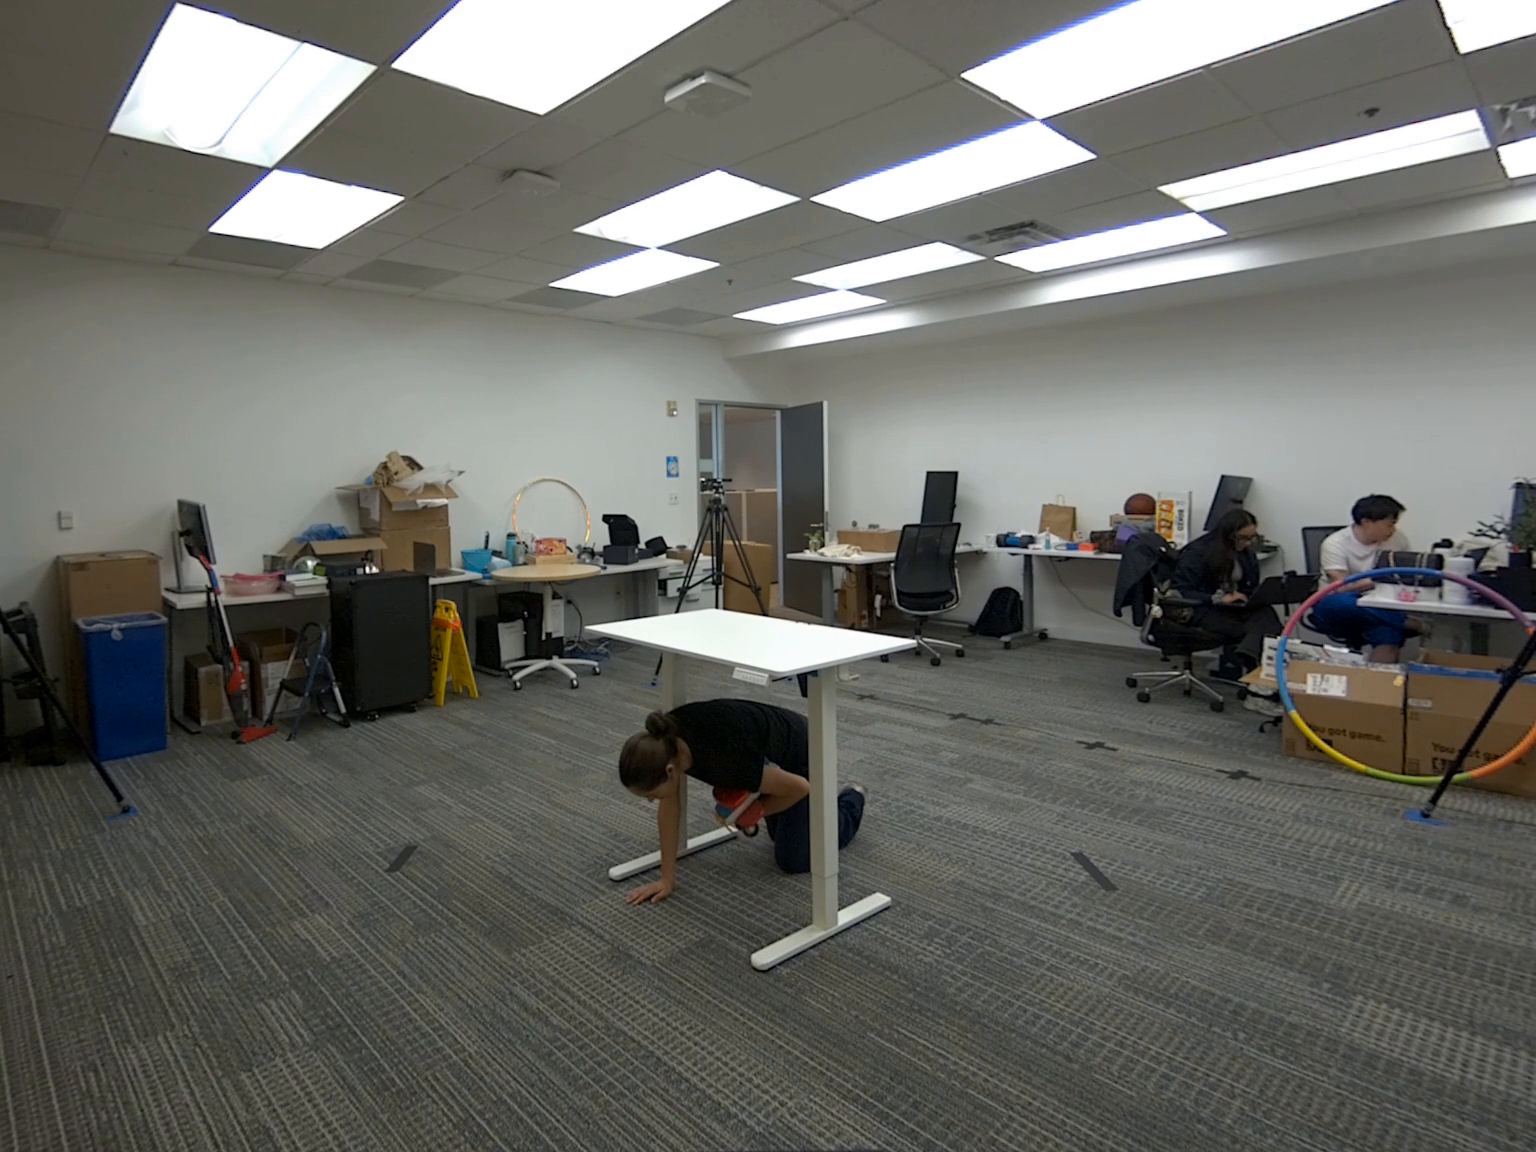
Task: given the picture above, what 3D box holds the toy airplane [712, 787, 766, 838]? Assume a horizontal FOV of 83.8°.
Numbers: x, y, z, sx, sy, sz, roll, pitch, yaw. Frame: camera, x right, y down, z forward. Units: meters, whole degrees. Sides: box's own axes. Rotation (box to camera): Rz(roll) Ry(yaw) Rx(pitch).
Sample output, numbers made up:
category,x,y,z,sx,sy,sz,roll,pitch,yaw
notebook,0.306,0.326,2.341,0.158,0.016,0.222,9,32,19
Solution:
category,x,y,z,sx,sy,sz,roll,pitch,yaw
toy airplane,-0.078,0.722,2.833,0.154,0.262,0.252,37,-41,-15
